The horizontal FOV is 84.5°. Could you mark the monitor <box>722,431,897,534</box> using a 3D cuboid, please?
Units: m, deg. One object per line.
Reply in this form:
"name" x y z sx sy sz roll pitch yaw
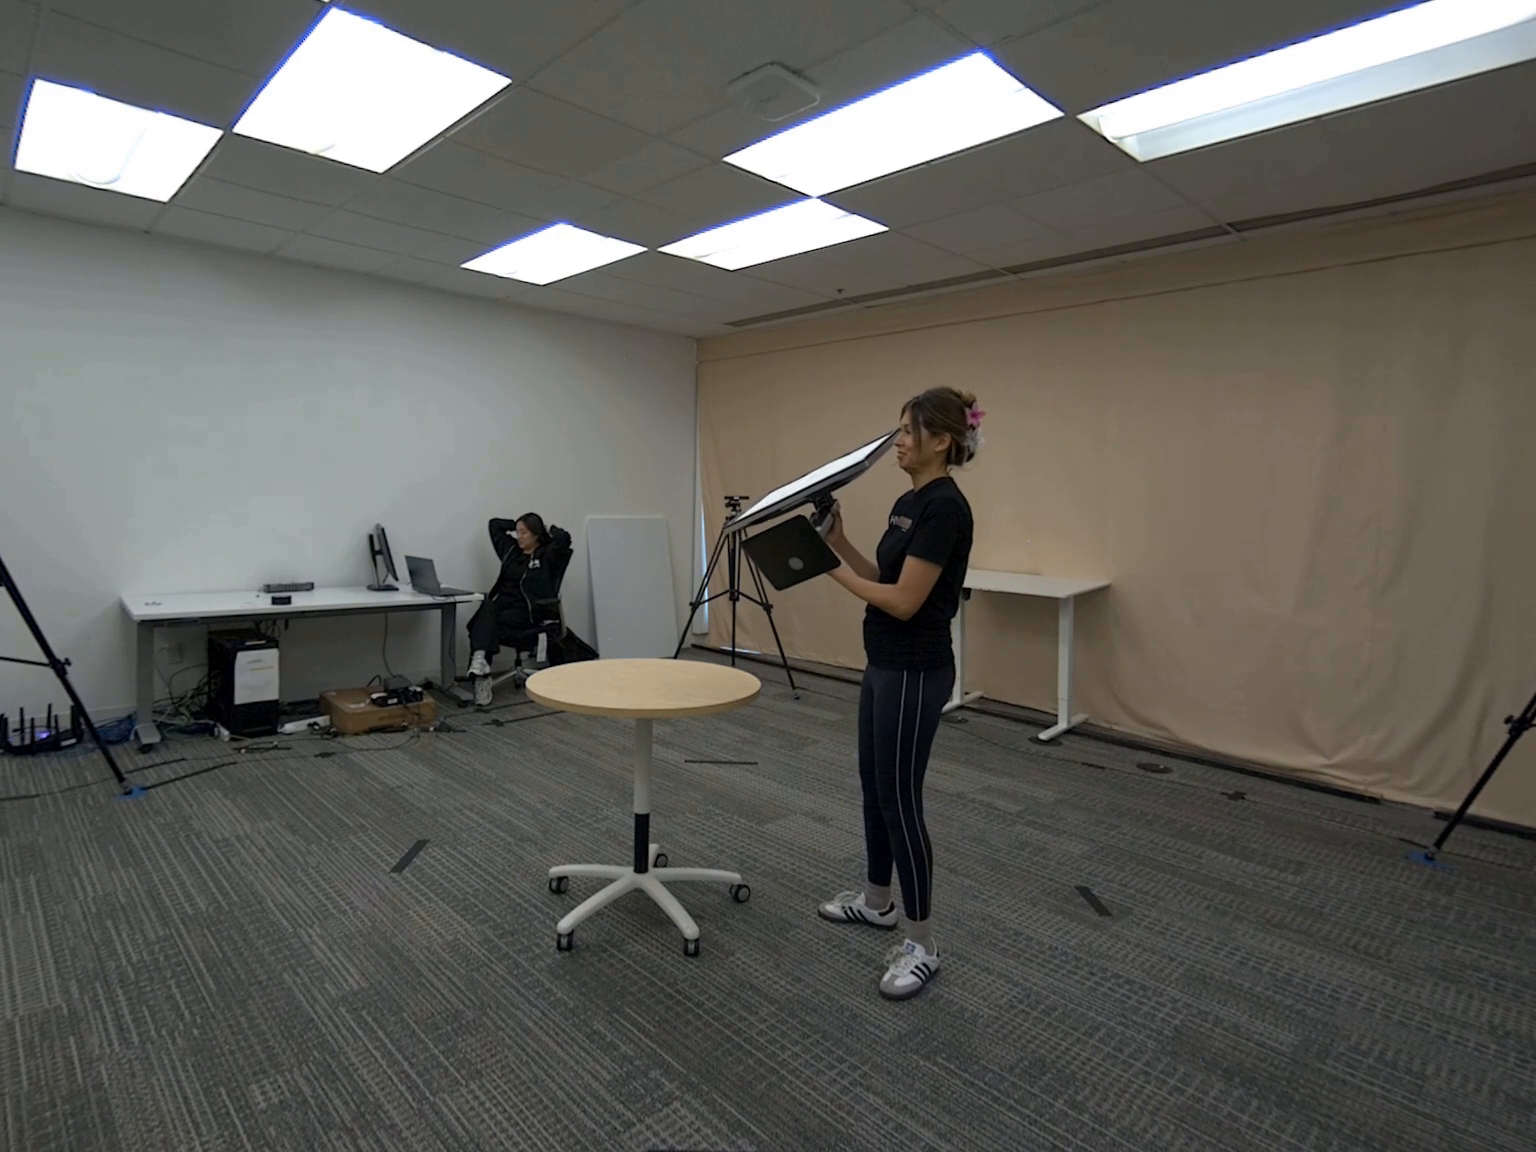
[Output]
"monitor" 0.118 -0.226 2.652 0.546 0.183 0.526 -22 25 34
